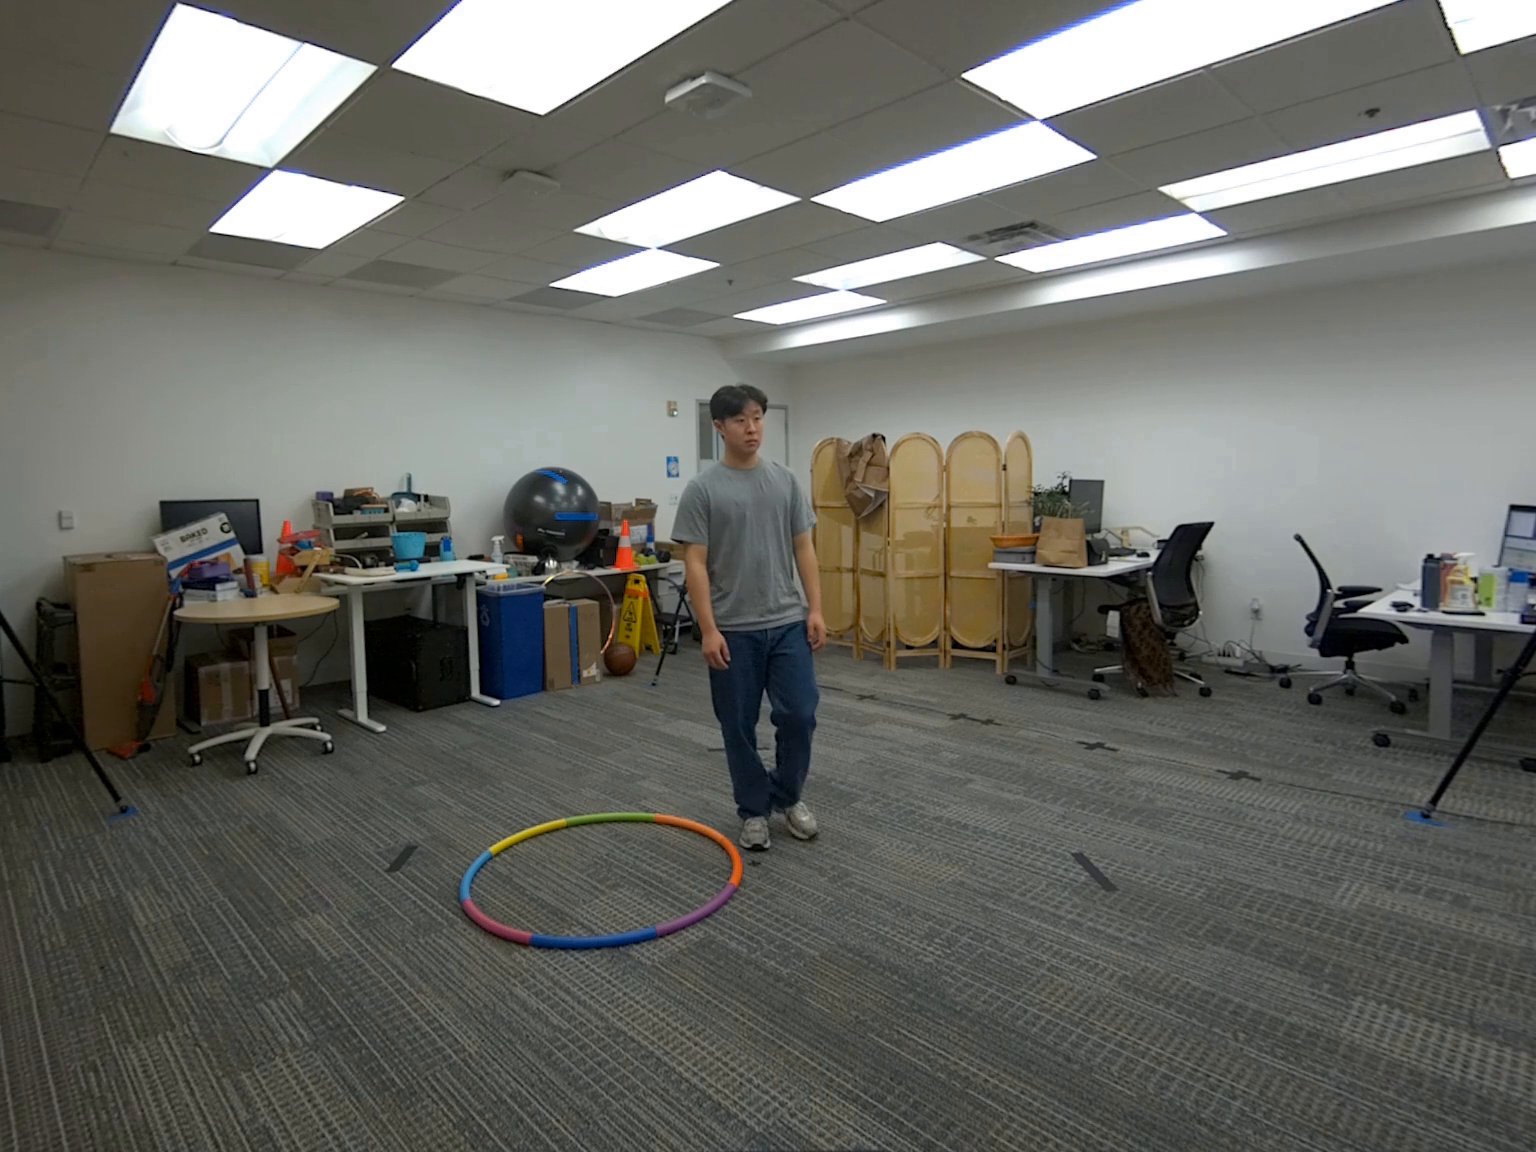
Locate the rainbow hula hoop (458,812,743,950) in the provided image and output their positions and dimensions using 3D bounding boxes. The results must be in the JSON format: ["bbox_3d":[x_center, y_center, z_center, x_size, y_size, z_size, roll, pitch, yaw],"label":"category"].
[{"bbox_3d":[-0.577,1.031,3.041,0.978,0.035,0.985,-1,7,-2],"label":"rainbow hula hoop"}]
